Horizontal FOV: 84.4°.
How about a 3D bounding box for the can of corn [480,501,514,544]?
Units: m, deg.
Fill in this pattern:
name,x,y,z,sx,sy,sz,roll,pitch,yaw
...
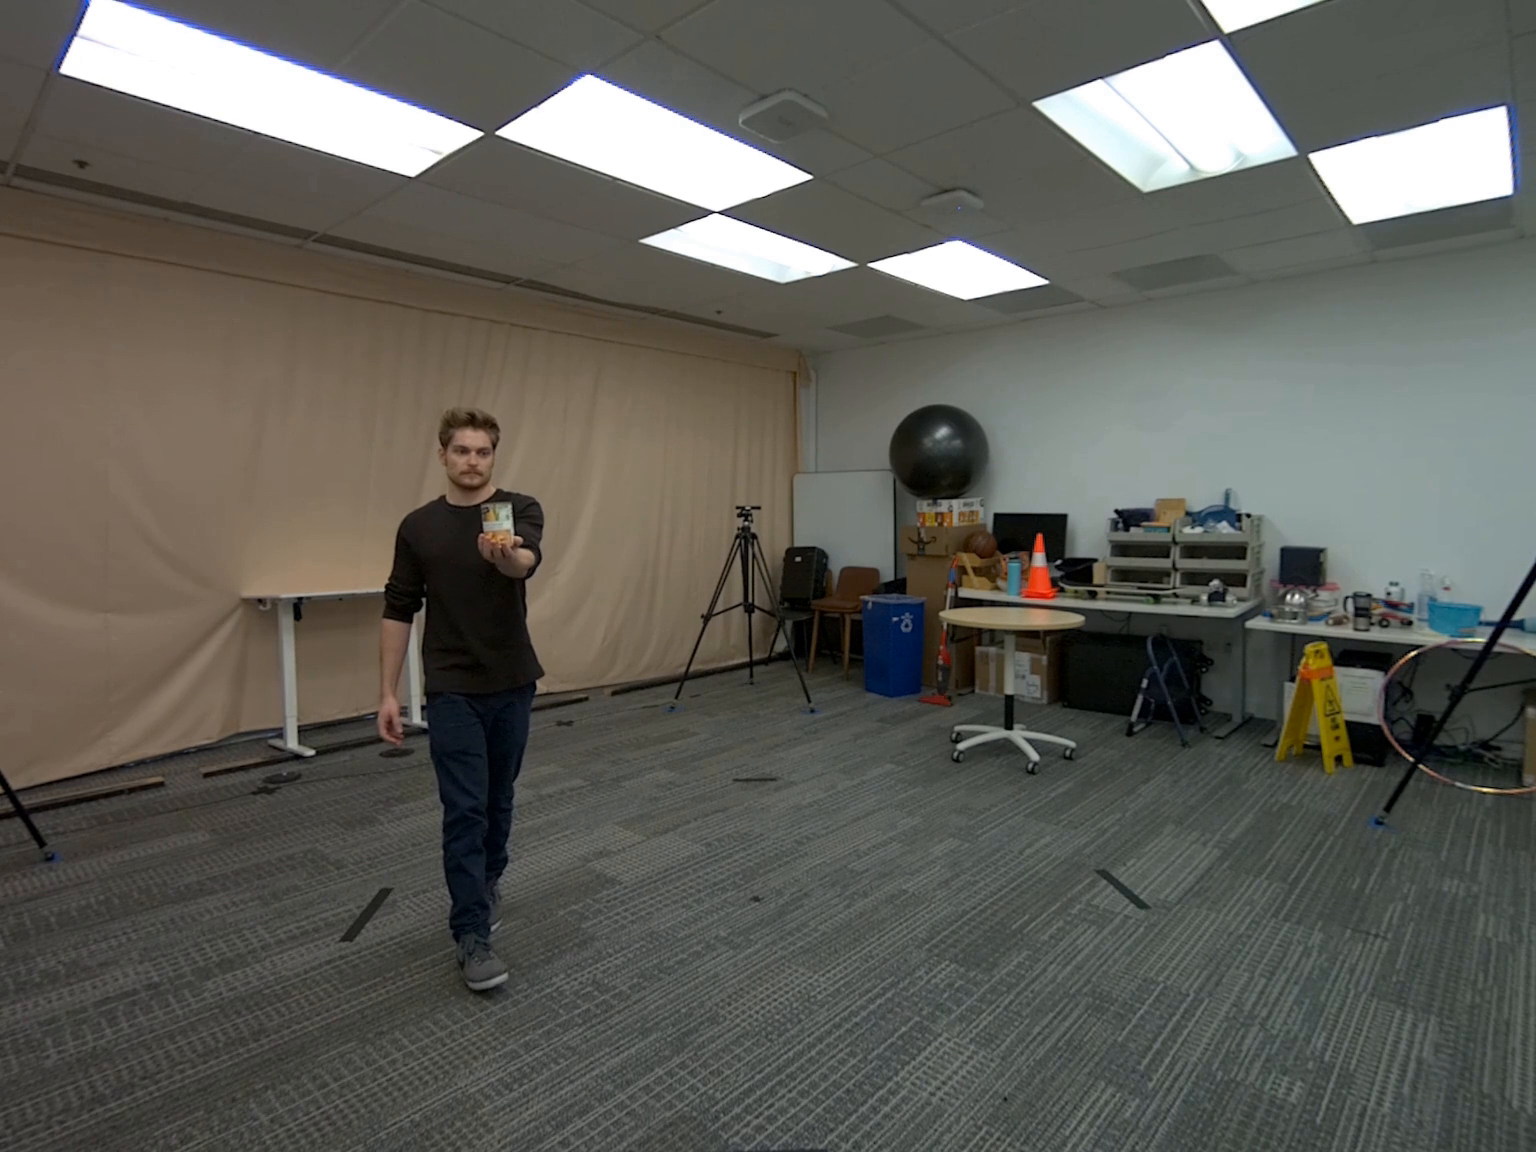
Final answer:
name,x,y,z,sx,sy,sz,roll,pitch,yaw
can of corn,-0.672,-0.127,2.106,0.074,0.111,0.074,-2,3,-2
